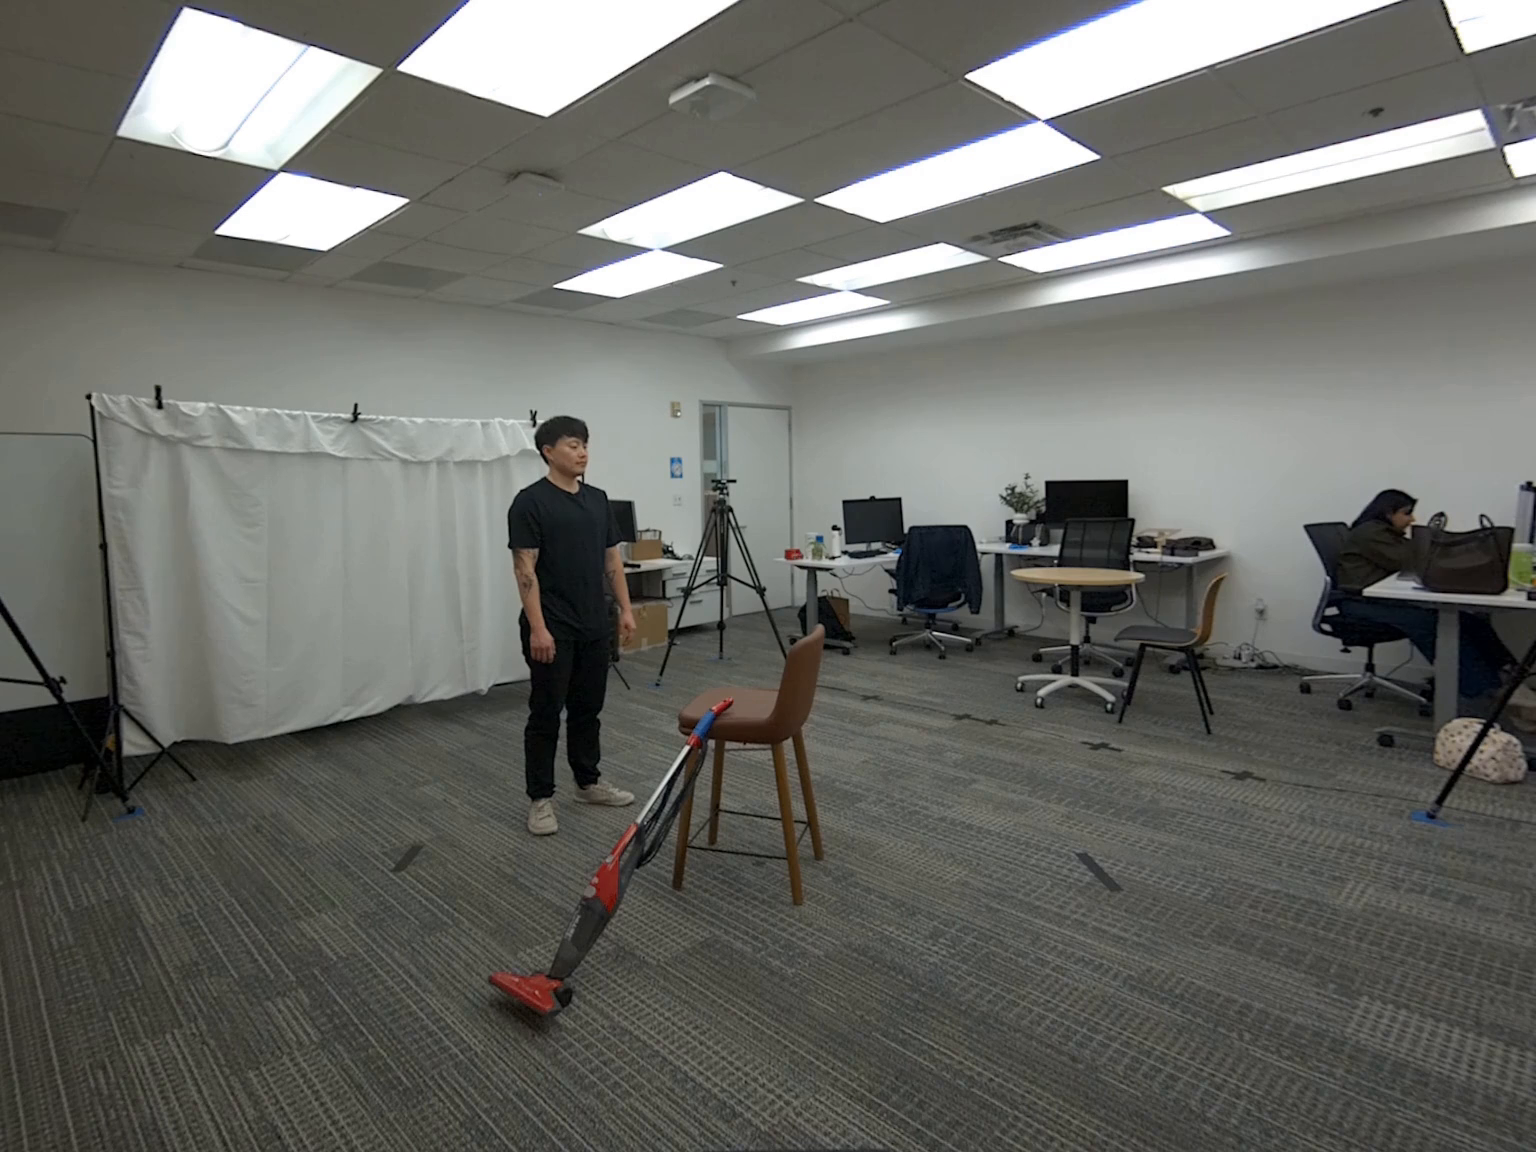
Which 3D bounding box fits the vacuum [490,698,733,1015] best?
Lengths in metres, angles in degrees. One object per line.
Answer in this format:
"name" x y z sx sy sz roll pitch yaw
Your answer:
"vacuum" -0.374 0.789 2.571 0.260 0.139 1.053 5 44 36
